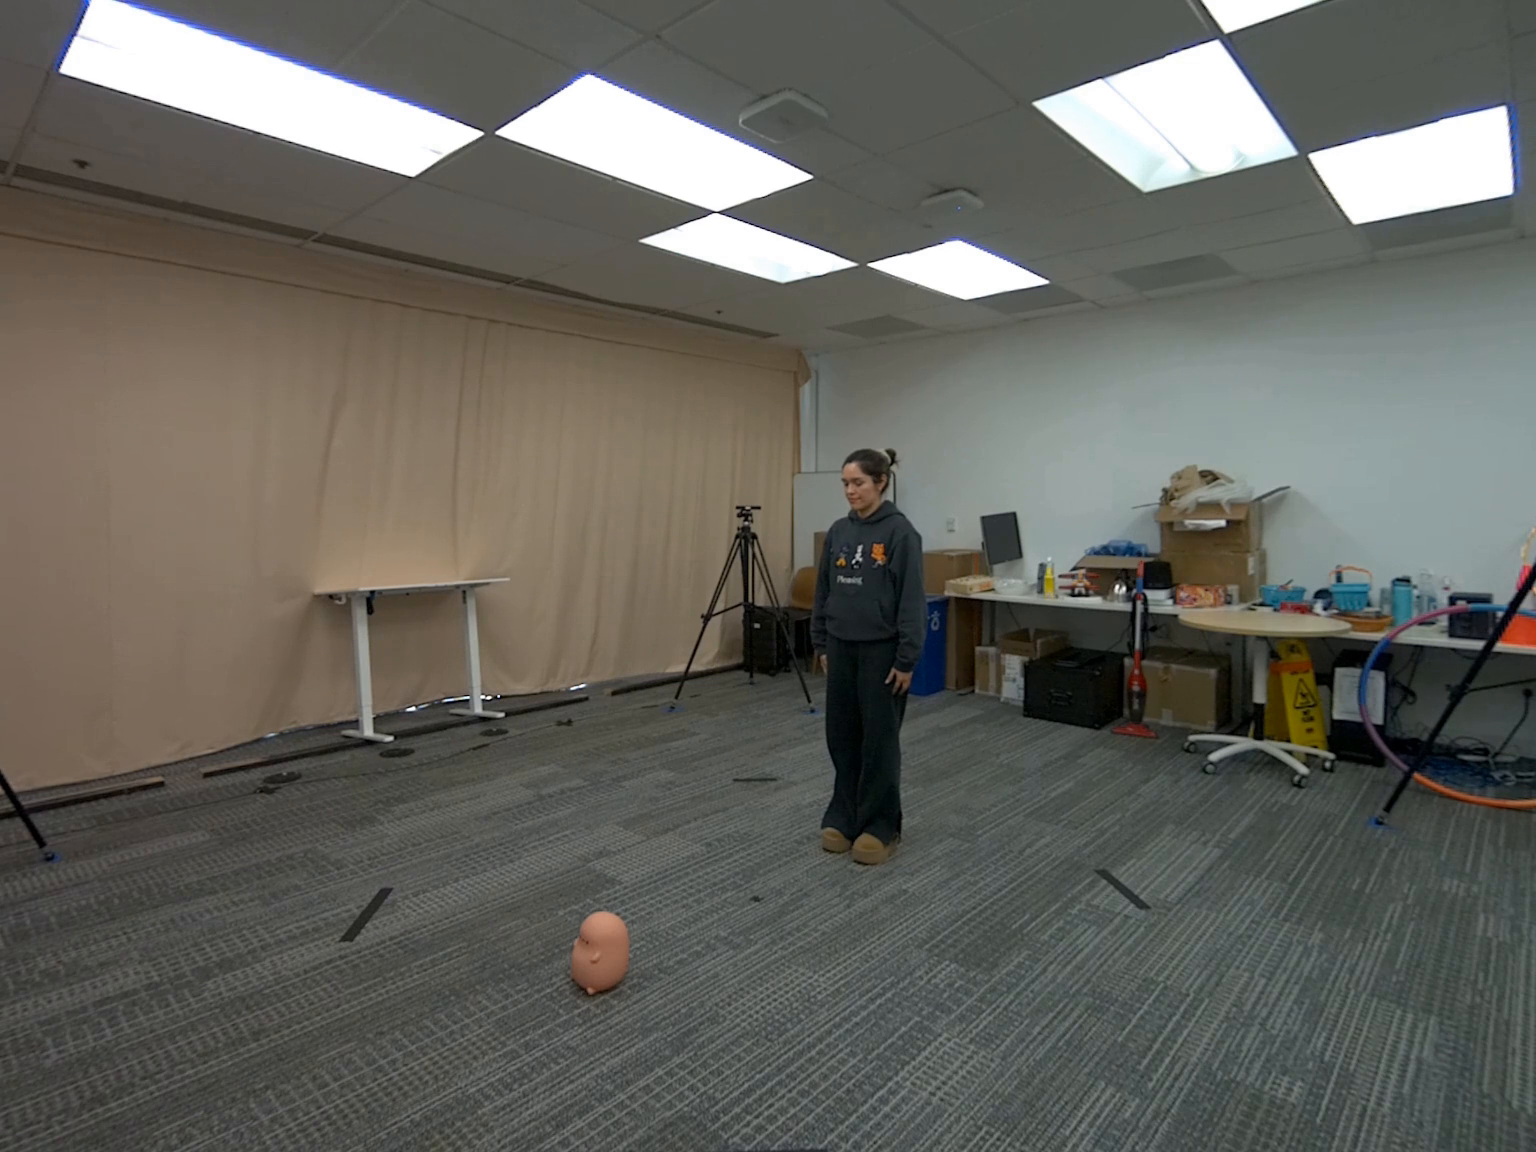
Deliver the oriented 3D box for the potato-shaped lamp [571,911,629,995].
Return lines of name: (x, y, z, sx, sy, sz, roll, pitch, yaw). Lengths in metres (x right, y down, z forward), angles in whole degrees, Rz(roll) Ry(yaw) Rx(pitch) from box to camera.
potato-shaped lamp: (-0.473, 1.098, 2.467, 0.166, 0.198, 0.170, -2, 2, -39)
